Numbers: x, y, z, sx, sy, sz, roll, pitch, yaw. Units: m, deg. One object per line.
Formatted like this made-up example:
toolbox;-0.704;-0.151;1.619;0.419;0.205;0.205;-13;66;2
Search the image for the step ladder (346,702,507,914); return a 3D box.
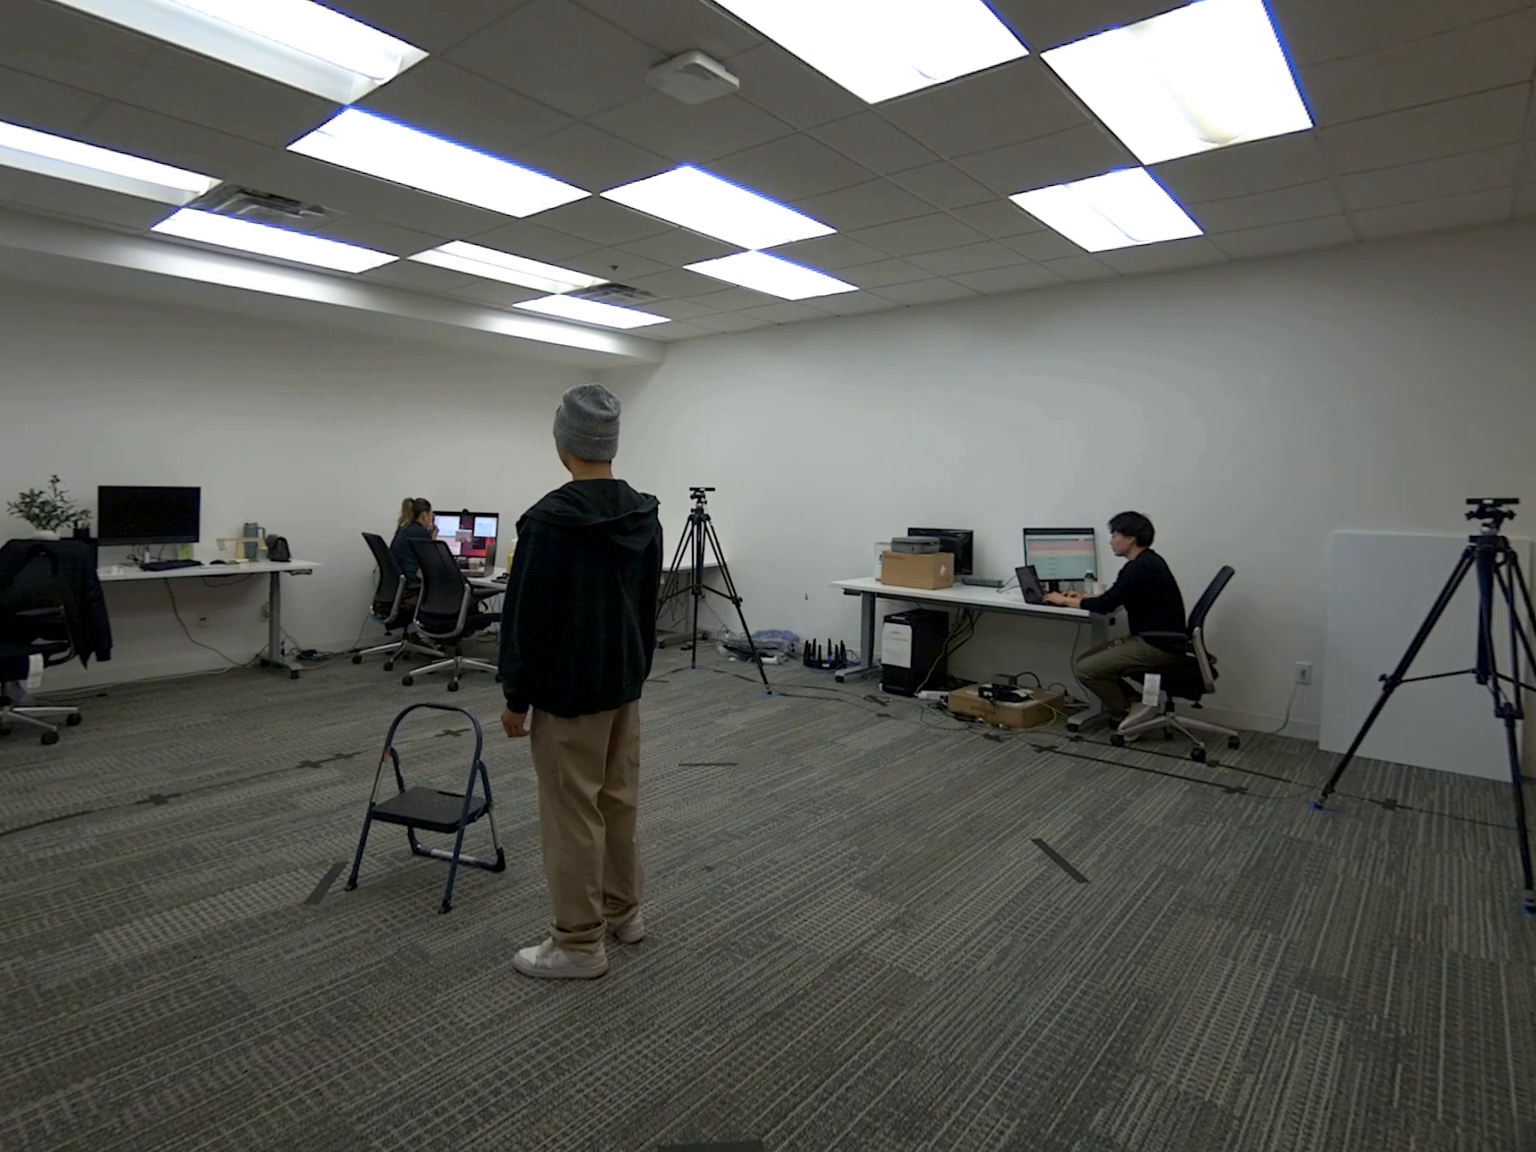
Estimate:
step ladder;-1.205;0.765;2.976;0.440;0.604;0.343;2;4;19
